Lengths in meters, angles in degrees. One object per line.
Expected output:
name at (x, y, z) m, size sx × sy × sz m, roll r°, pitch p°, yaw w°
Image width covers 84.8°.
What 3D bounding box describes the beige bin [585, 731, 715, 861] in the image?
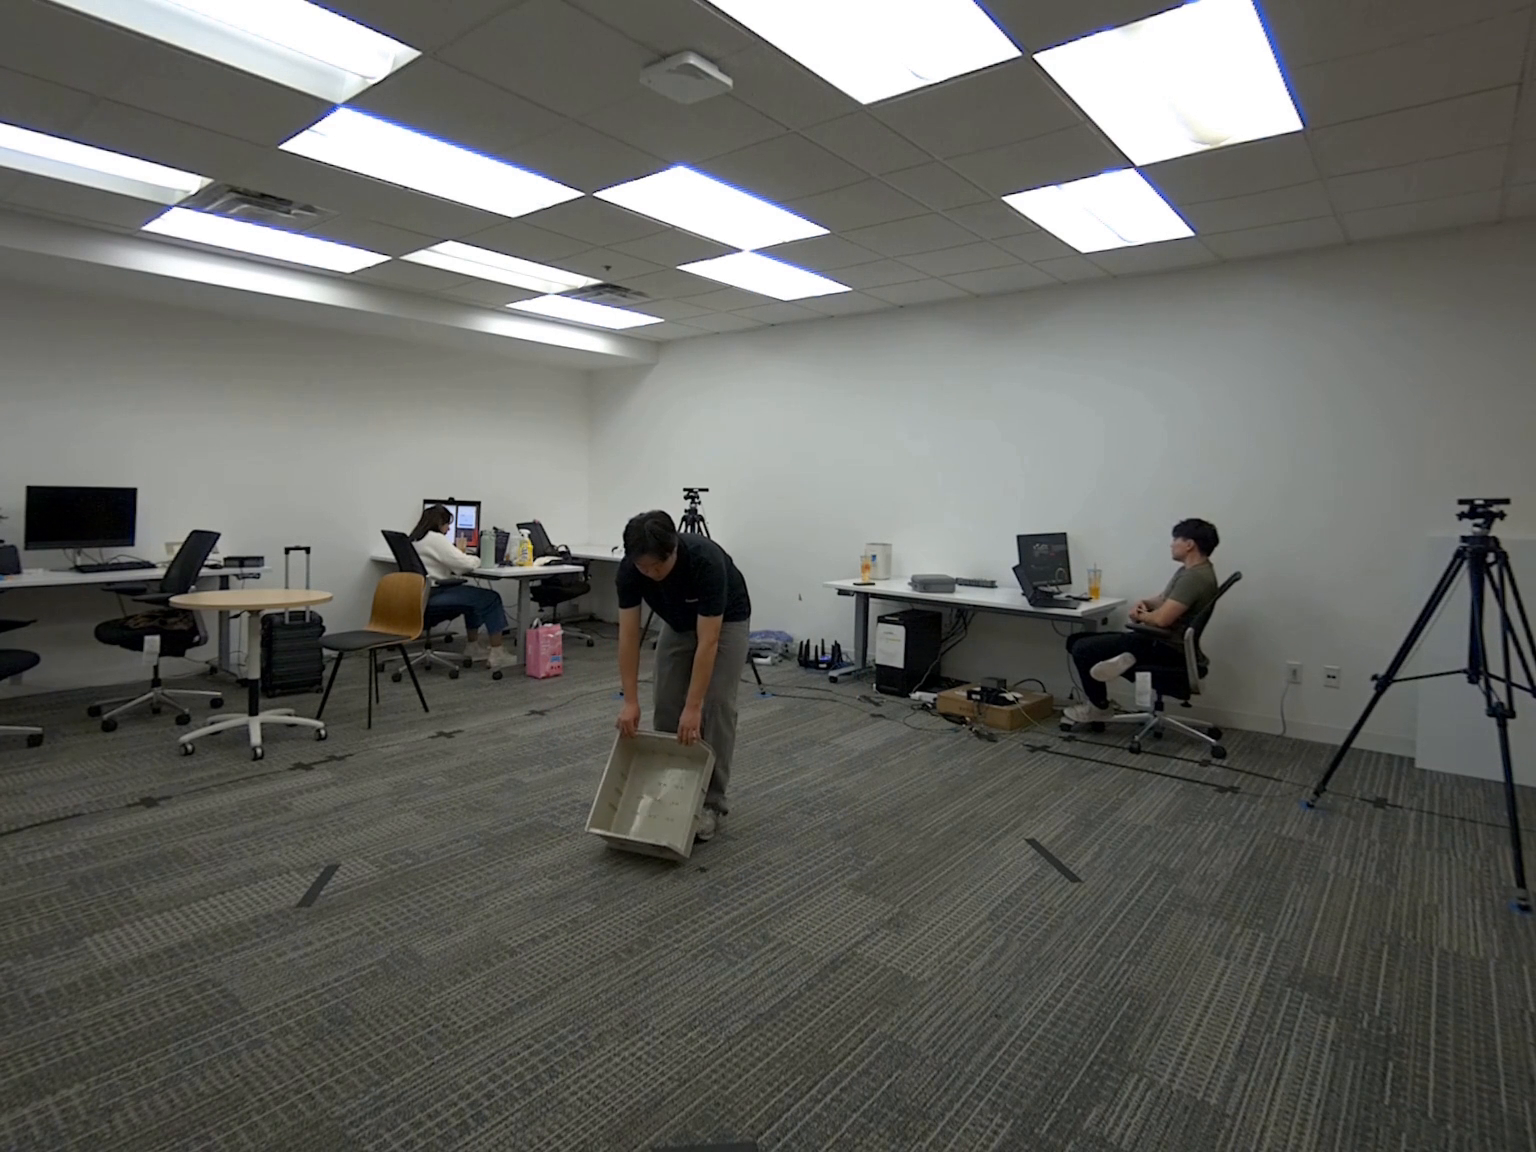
beige bin at (-0.442, 0.835, 3.273) m, size 0.386 × 0.429 × 0.181 m, roll 1°, pitch -36°, yaw 21°
